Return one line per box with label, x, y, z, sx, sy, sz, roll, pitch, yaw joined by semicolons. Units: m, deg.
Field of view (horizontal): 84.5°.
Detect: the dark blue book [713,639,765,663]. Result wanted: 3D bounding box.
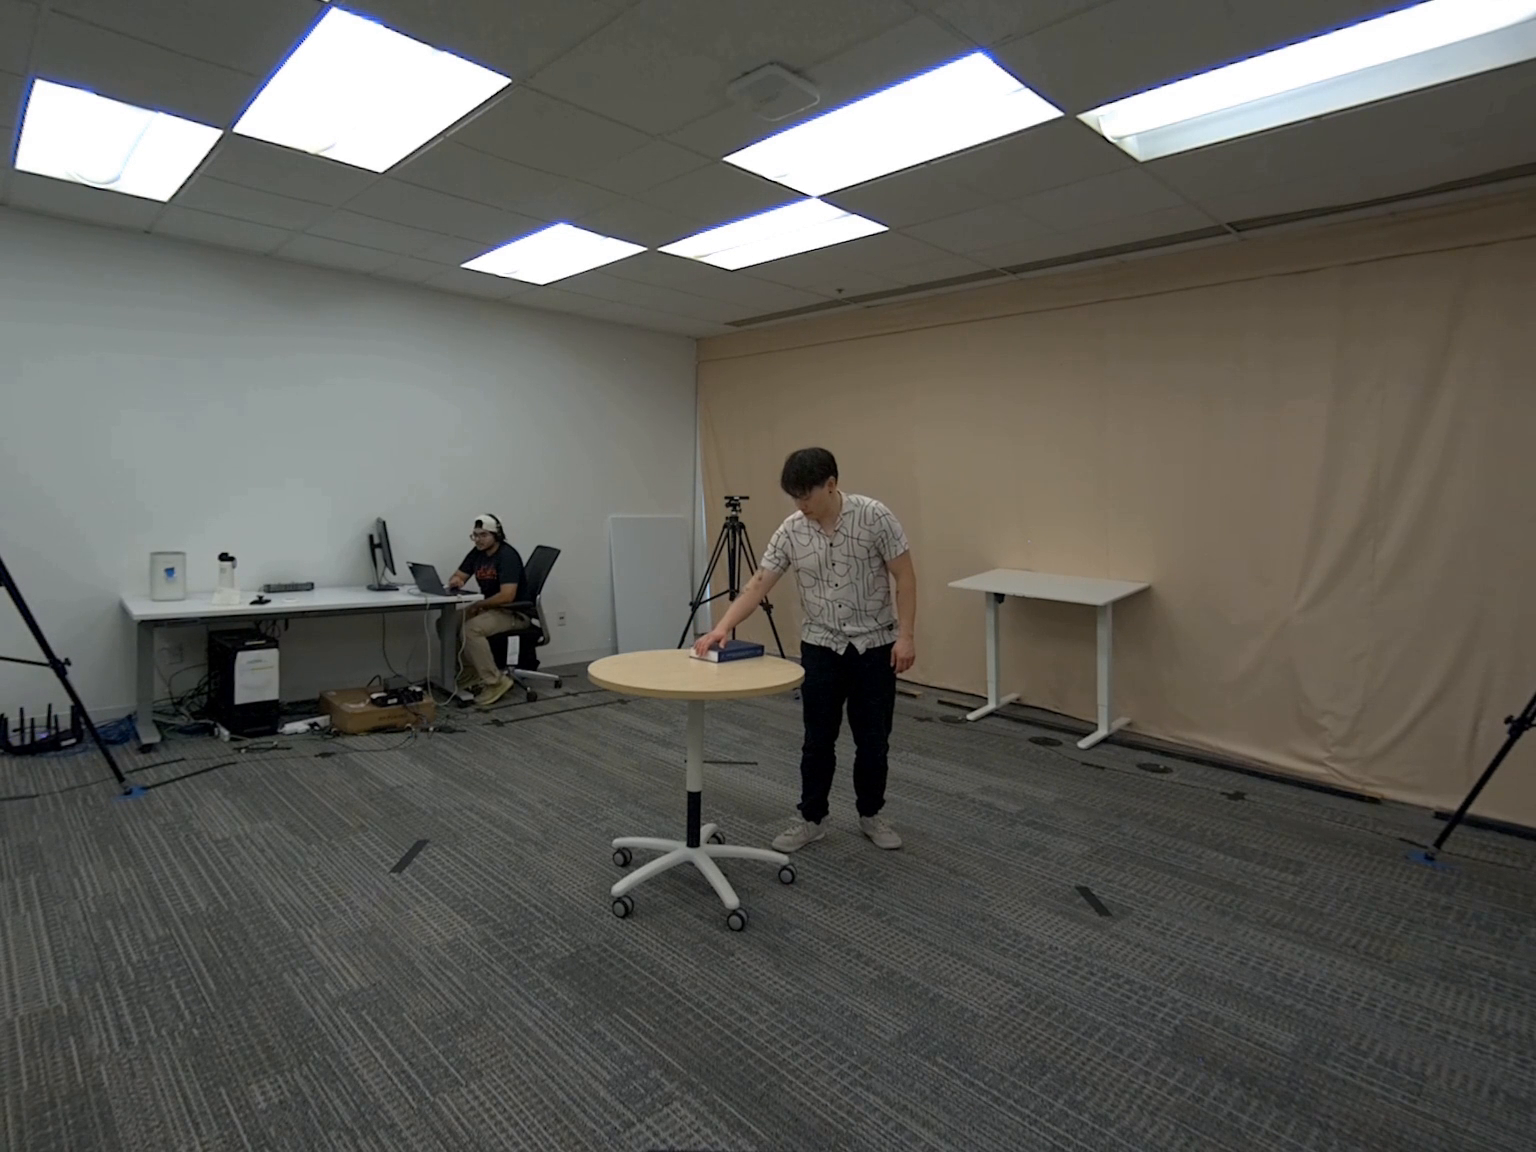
dark blue book;-0.160;0.289;3.226;0.167;0.045;0.239;5;7;44
